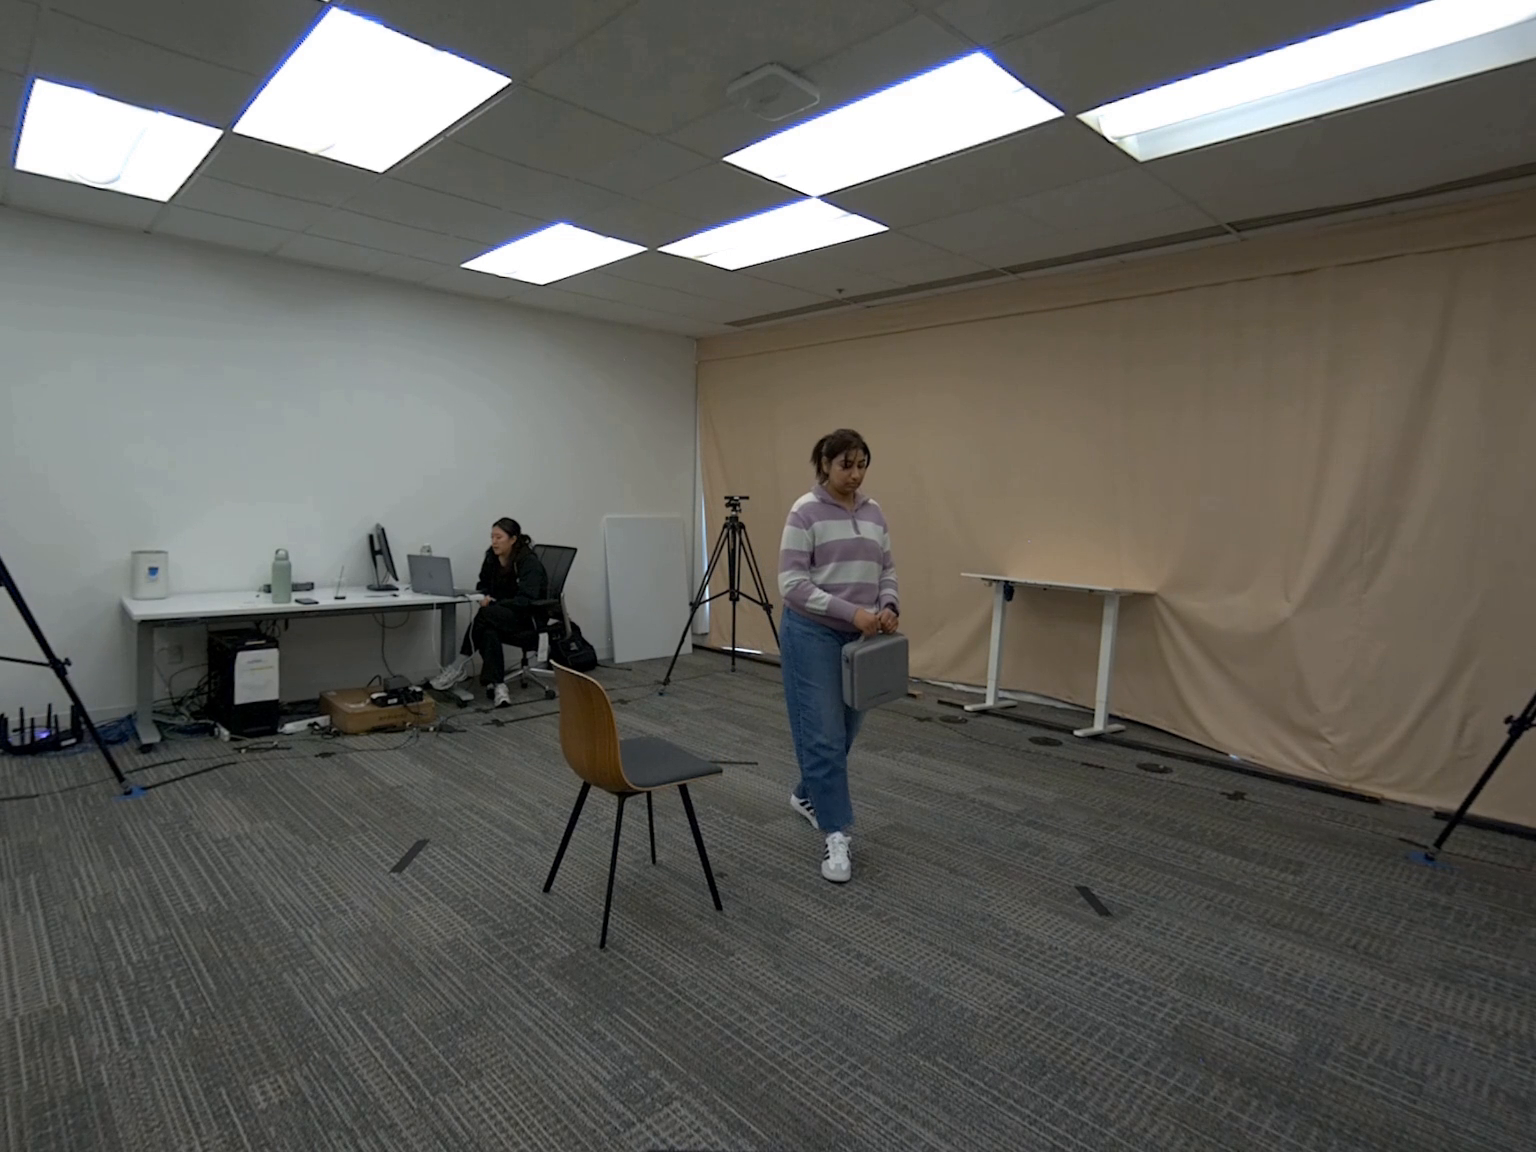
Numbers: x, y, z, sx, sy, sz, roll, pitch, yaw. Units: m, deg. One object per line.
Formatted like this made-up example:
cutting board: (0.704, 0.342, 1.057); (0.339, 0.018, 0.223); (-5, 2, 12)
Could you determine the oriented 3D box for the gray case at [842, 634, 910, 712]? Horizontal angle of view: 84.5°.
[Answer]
gray case: (0.382, 0.341, 3.120); (0.253, 0.257, 0.107); (-13, 19, -30)
